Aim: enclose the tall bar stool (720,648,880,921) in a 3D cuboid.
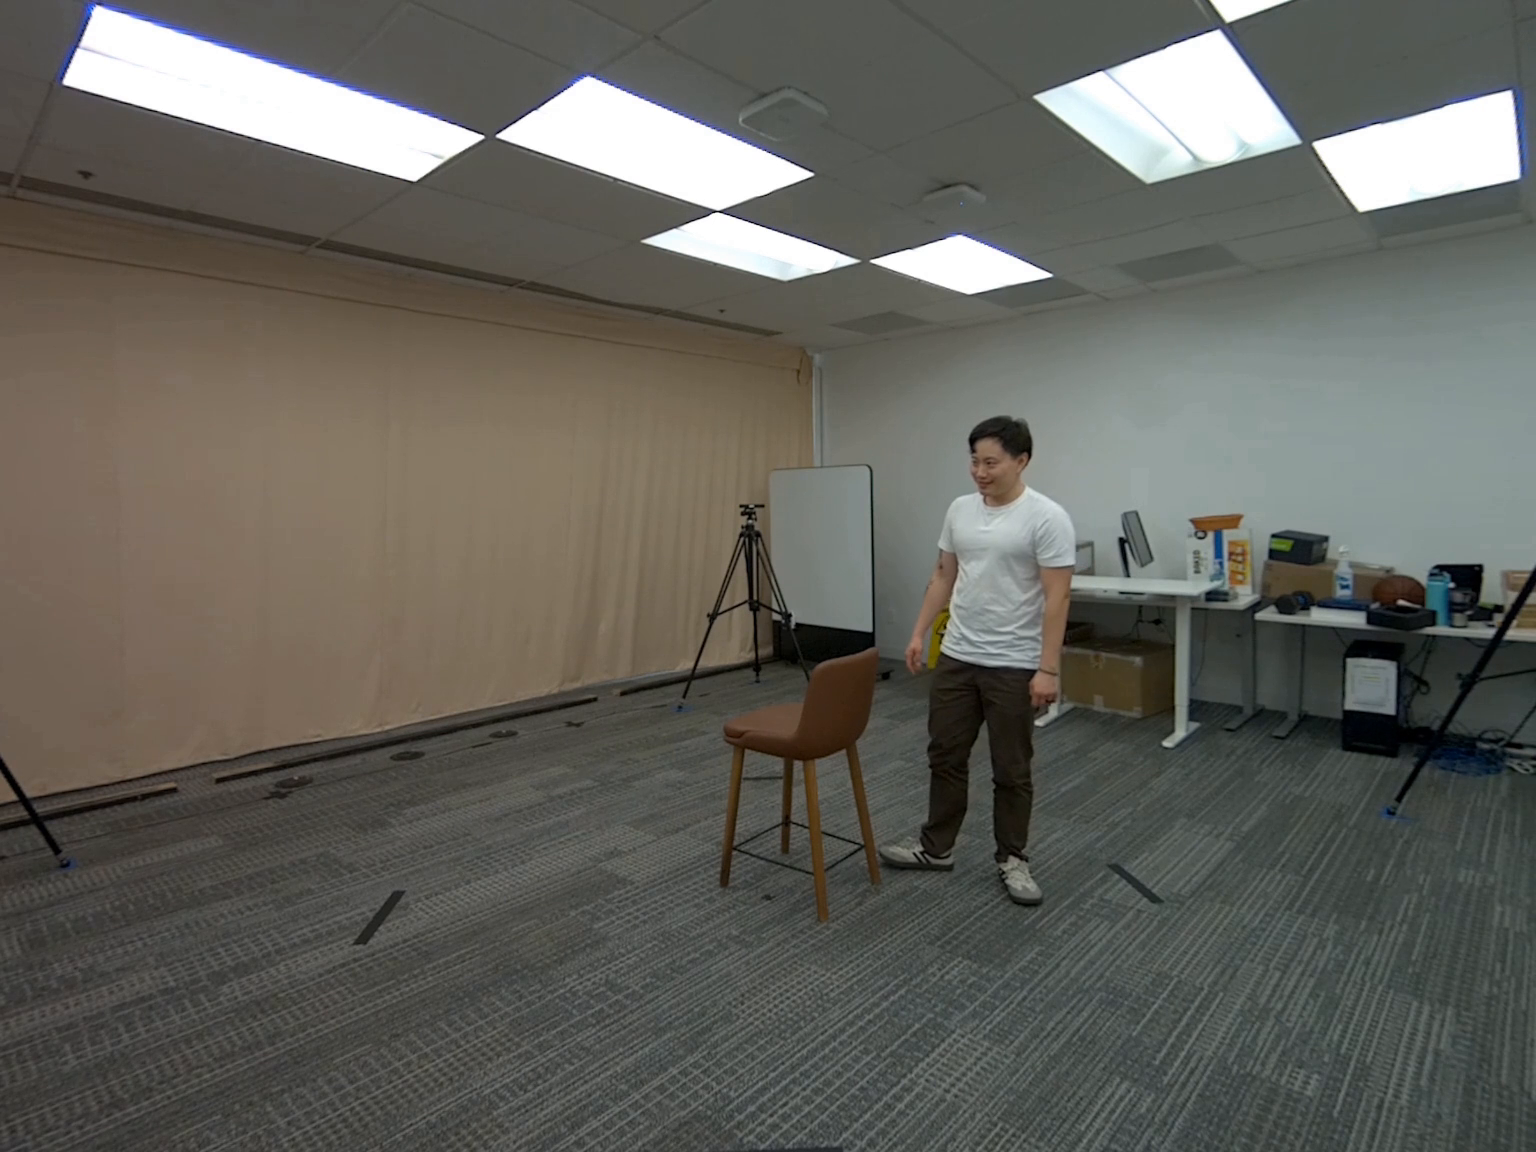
[{"bbox_3d":[0.128,0.696,3.055,0.483,0.887,0.443,5,6,39],"label":"tall bar stool"}]
